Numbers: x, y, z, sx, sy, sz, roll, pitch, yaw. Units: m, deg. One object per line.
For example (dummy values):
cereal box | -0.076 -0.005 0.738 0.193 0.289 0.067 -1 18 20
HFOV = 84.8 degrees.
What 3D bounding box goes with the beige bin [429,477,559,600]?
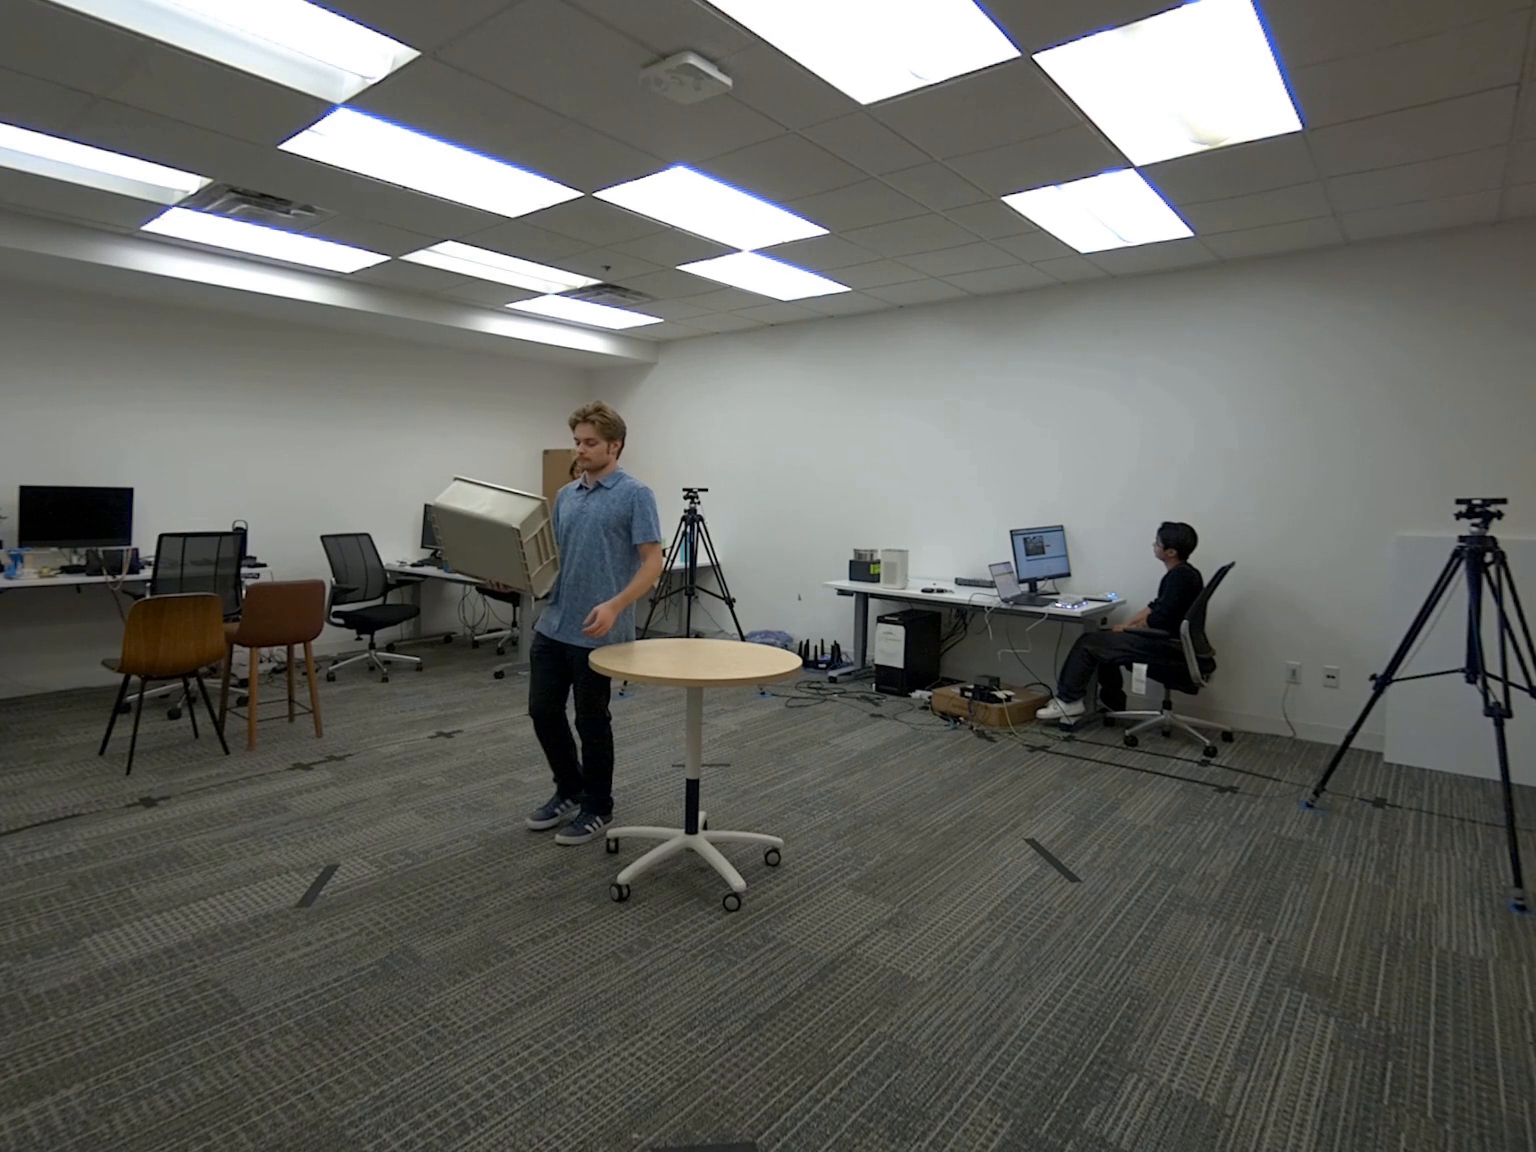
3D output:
beige bin | -1.051 -0.137 3.199 0.433 0.366 0.190 15 43 21
